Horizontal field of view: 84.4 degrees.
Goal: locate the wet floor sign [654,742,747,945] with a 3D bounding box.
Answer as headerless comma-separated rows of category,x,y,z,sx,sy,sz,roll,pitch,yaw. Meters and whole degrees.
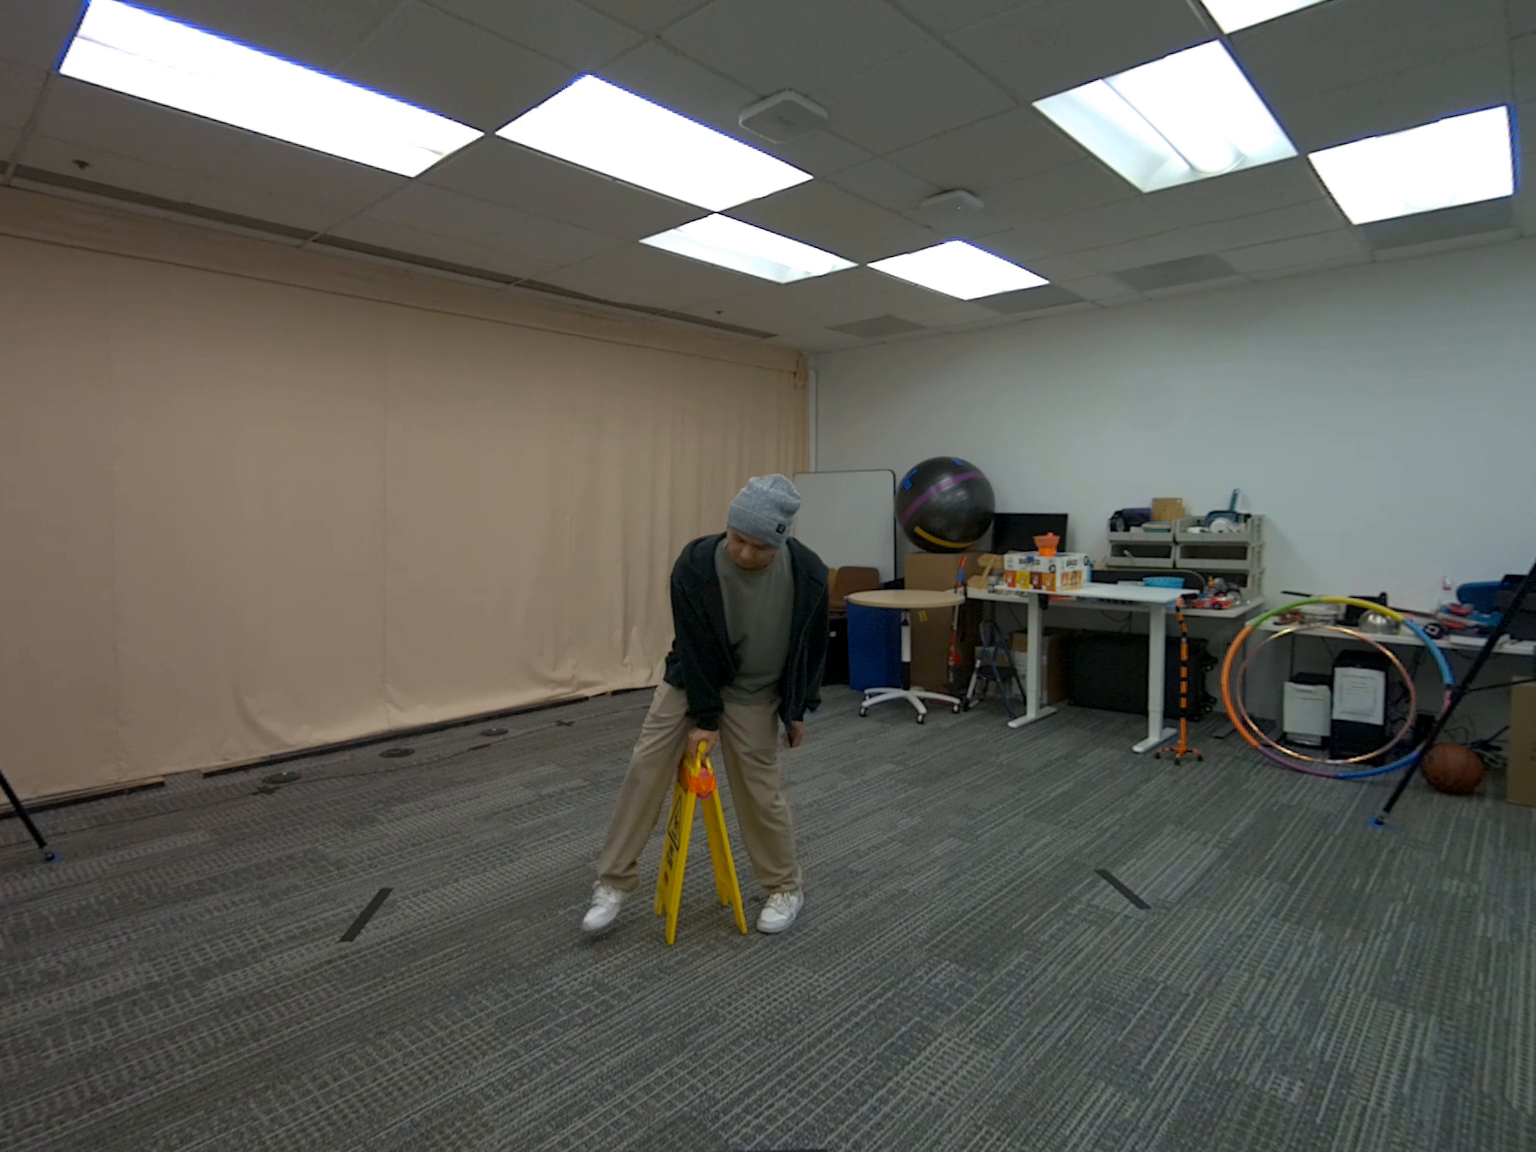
wet floor sign,-0.238,0.839,2.807,0.285,0.645,0.288,-2,3,-17
